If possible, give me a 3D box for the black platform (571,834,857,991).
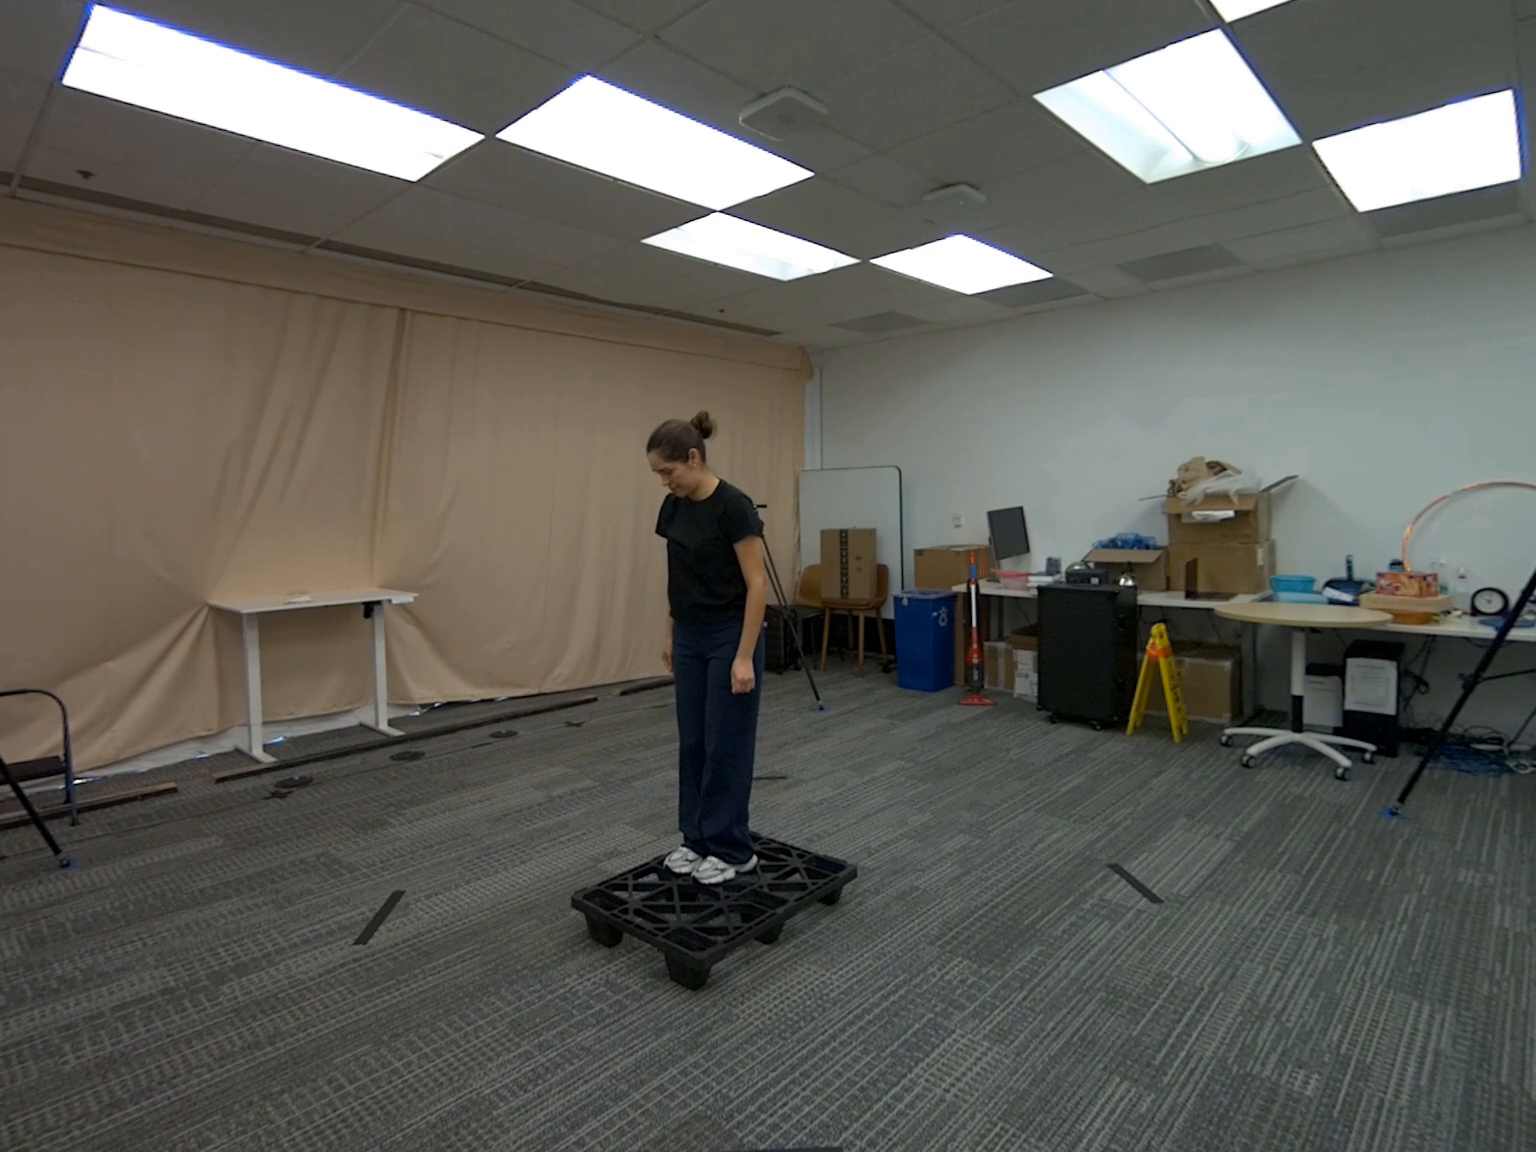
[{"bbox_3d":[-0.157,1.087,2.836,0.625,0.143,0.781,3,6,41],"label":"black platform"}]
